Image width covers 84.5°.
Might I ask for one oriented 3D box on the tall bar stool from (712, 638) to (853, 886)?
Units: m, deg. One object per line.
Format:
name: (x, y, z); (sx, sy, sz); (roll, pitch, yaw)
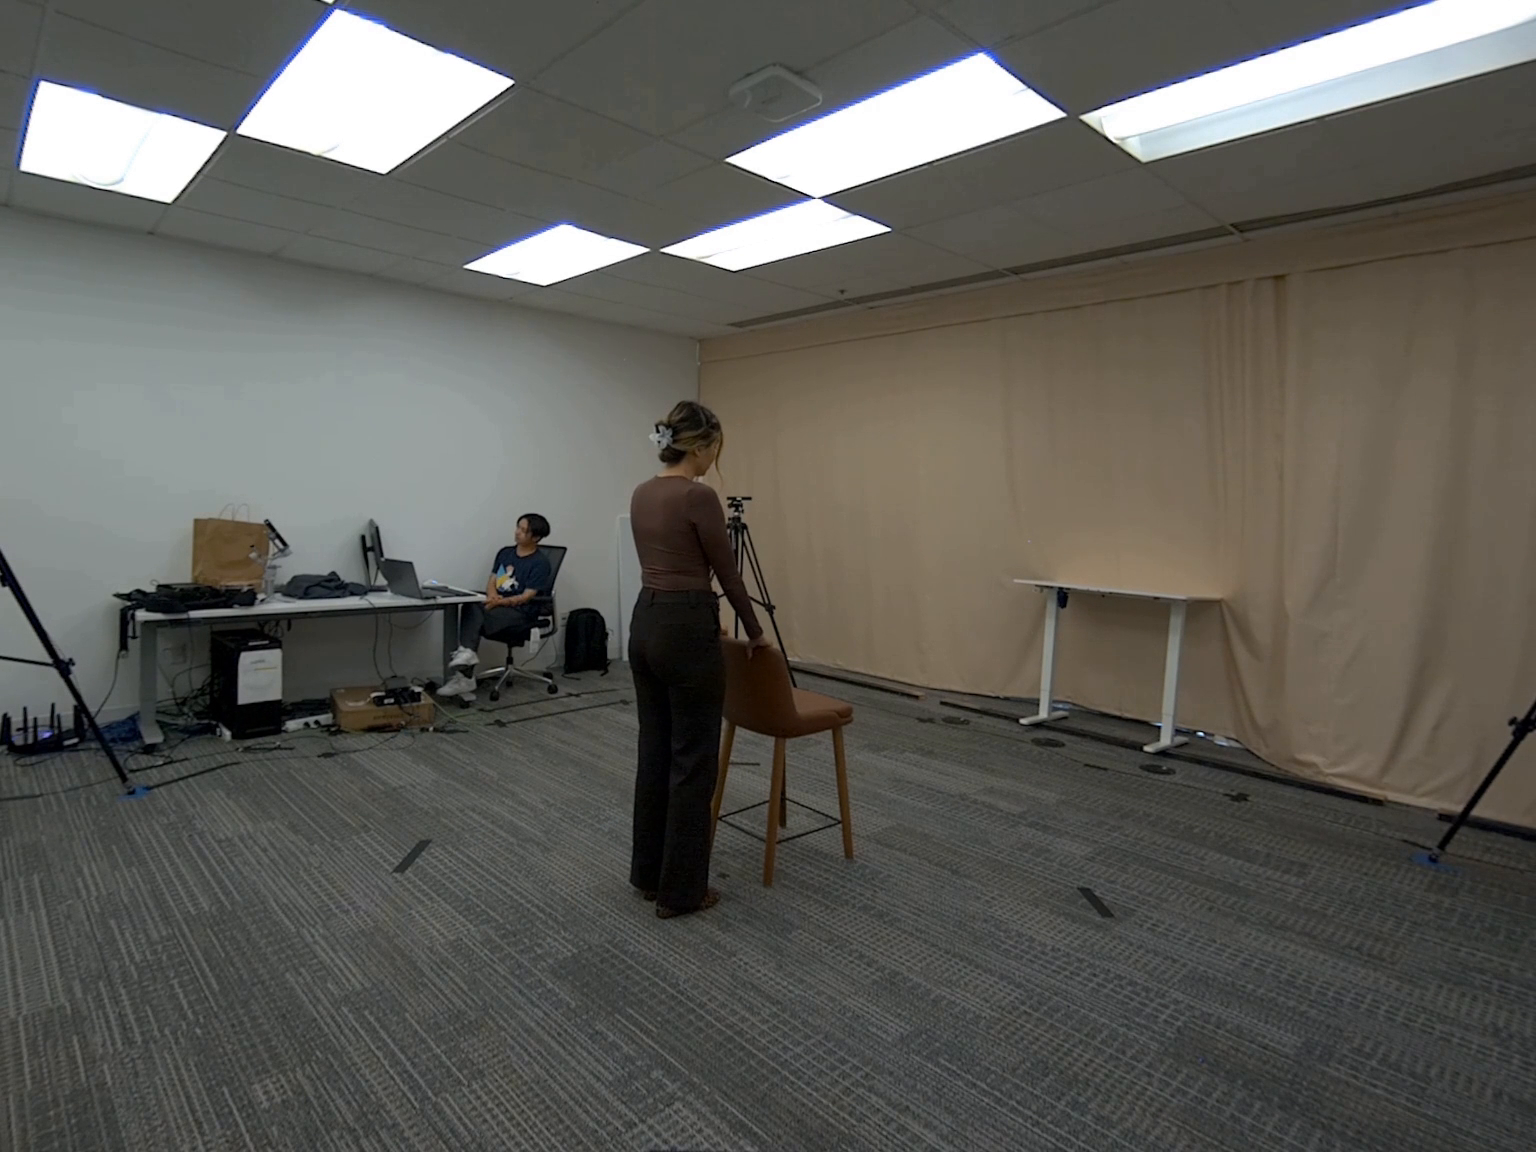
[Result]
tall bar stool: (0.035, 0.656, 3.266); (0.457, 0.886, 0.468); (-4, 7, -41)
